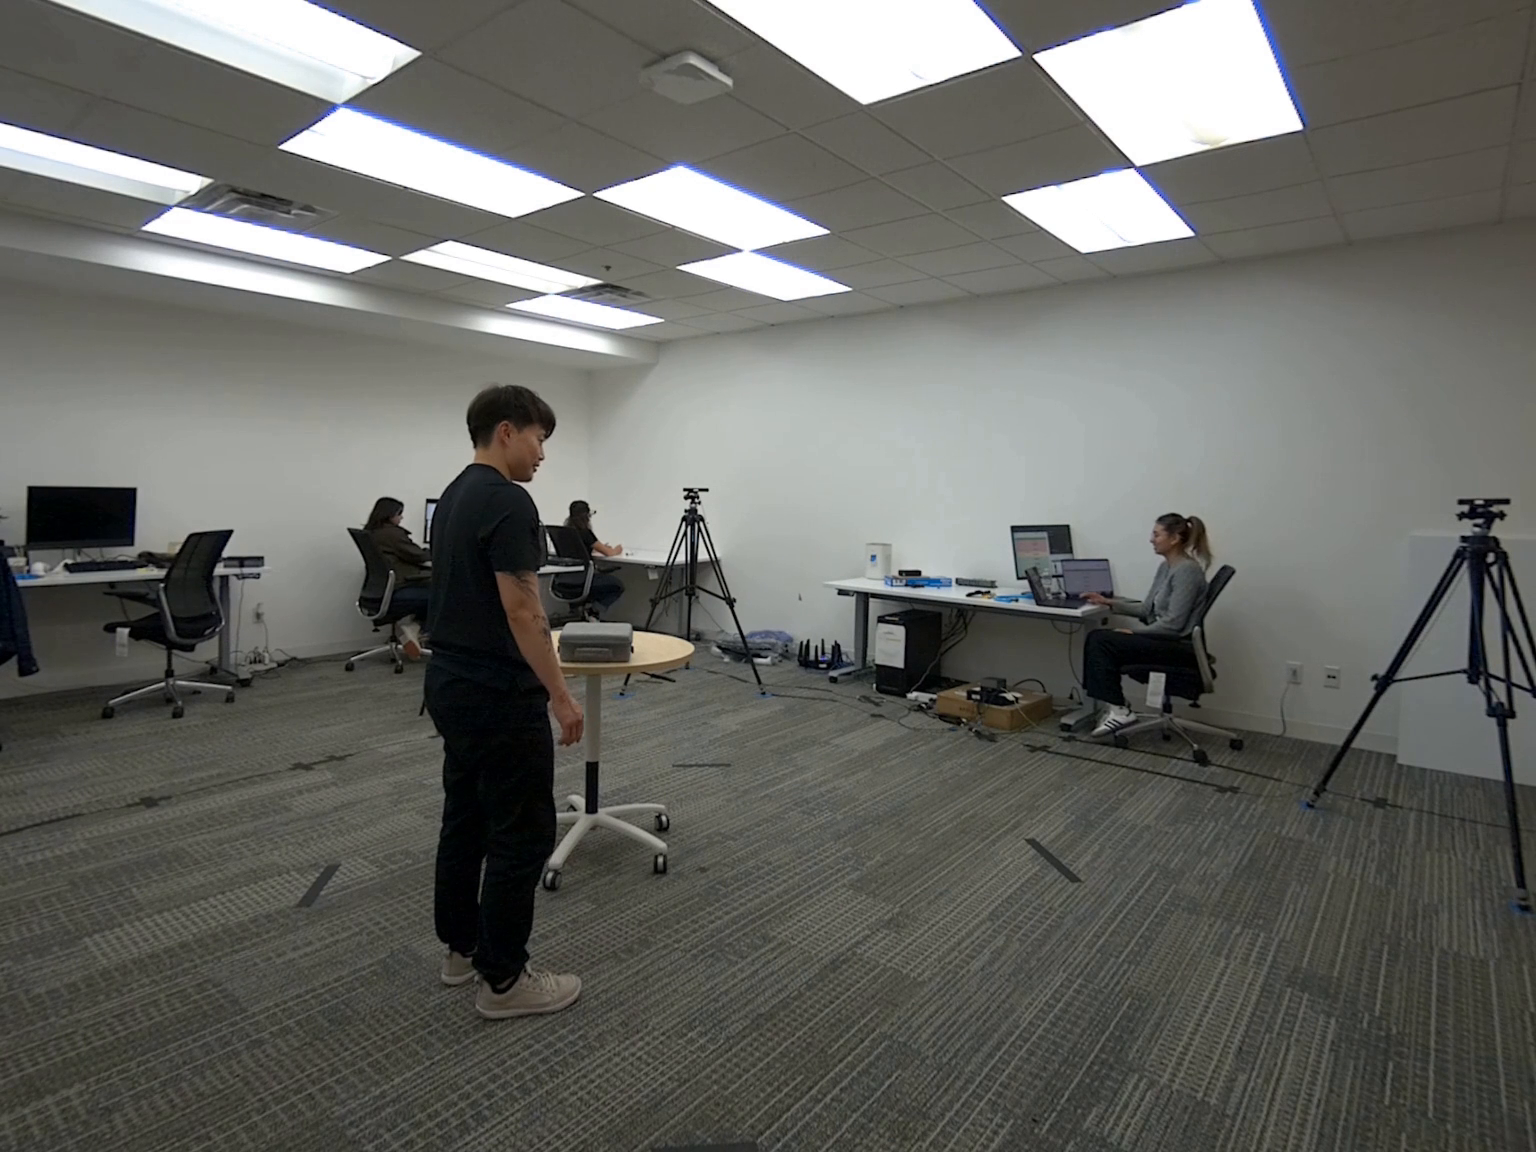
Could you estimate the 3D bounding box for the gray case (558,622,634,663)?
[{"bbox_3d":[-0.629,0.229,3.063,0.255,0.104,0.264,1,7,-7],"label":"gray case"}]
